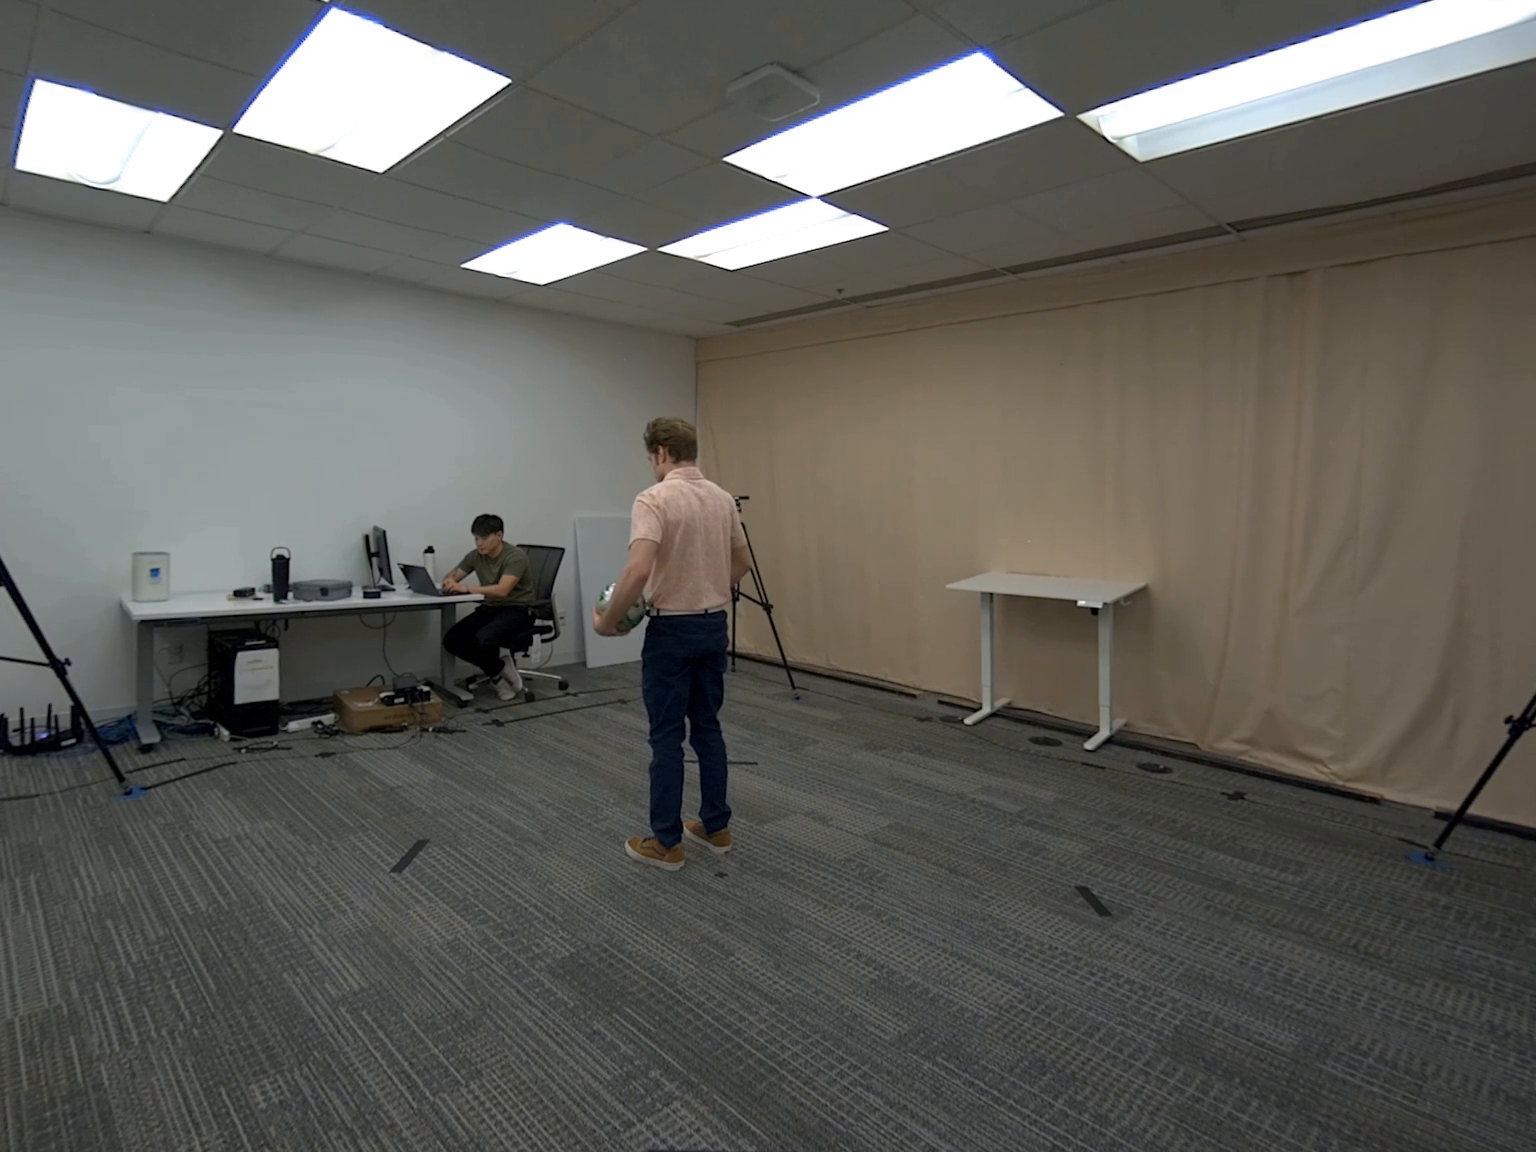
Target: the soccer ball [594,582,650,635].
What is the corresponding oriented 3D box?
[{"bbox_3d":[-0.547,0.110,3.134,0.187,0.187,0.188,1,4,-1],"label":"soccer ball"}]
